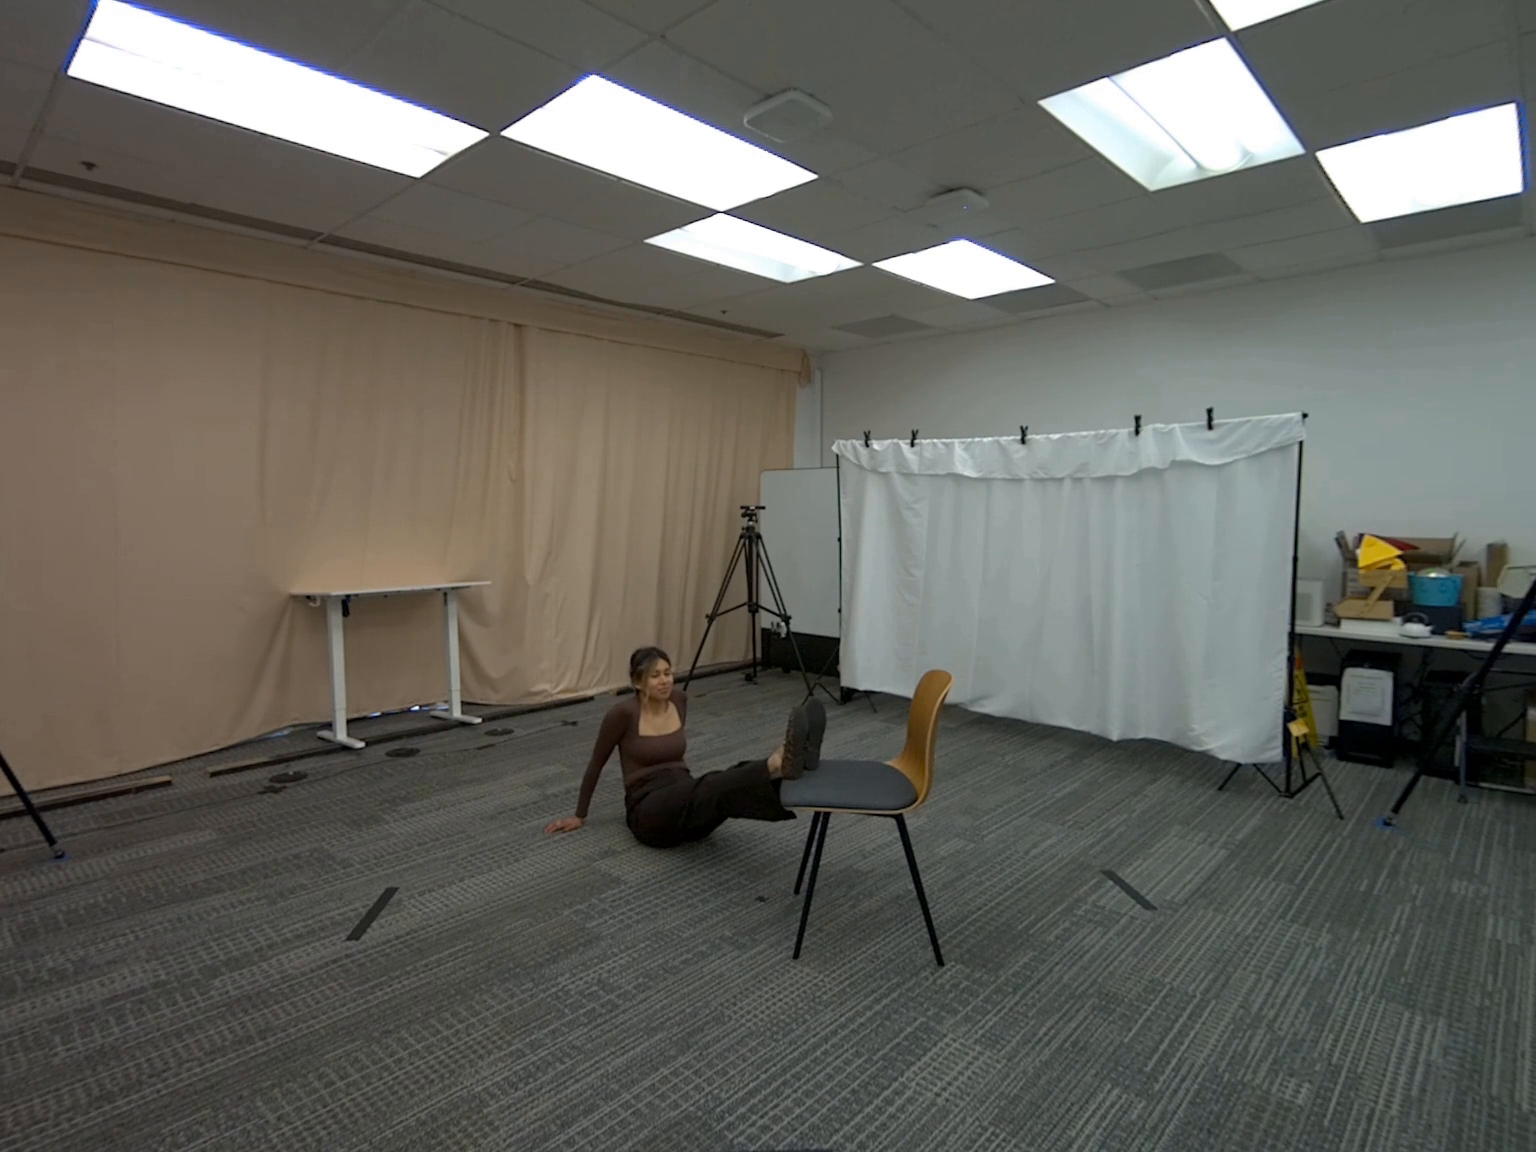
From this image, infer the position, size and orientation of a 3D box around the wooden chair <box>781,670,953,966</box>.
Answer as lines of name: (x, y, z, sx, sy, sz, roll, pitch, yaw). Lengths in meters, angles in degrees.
wooden chair: (0.311, 0.735, 2.754, 0.526, 0.875, 0.476, 4, 4, 4)
